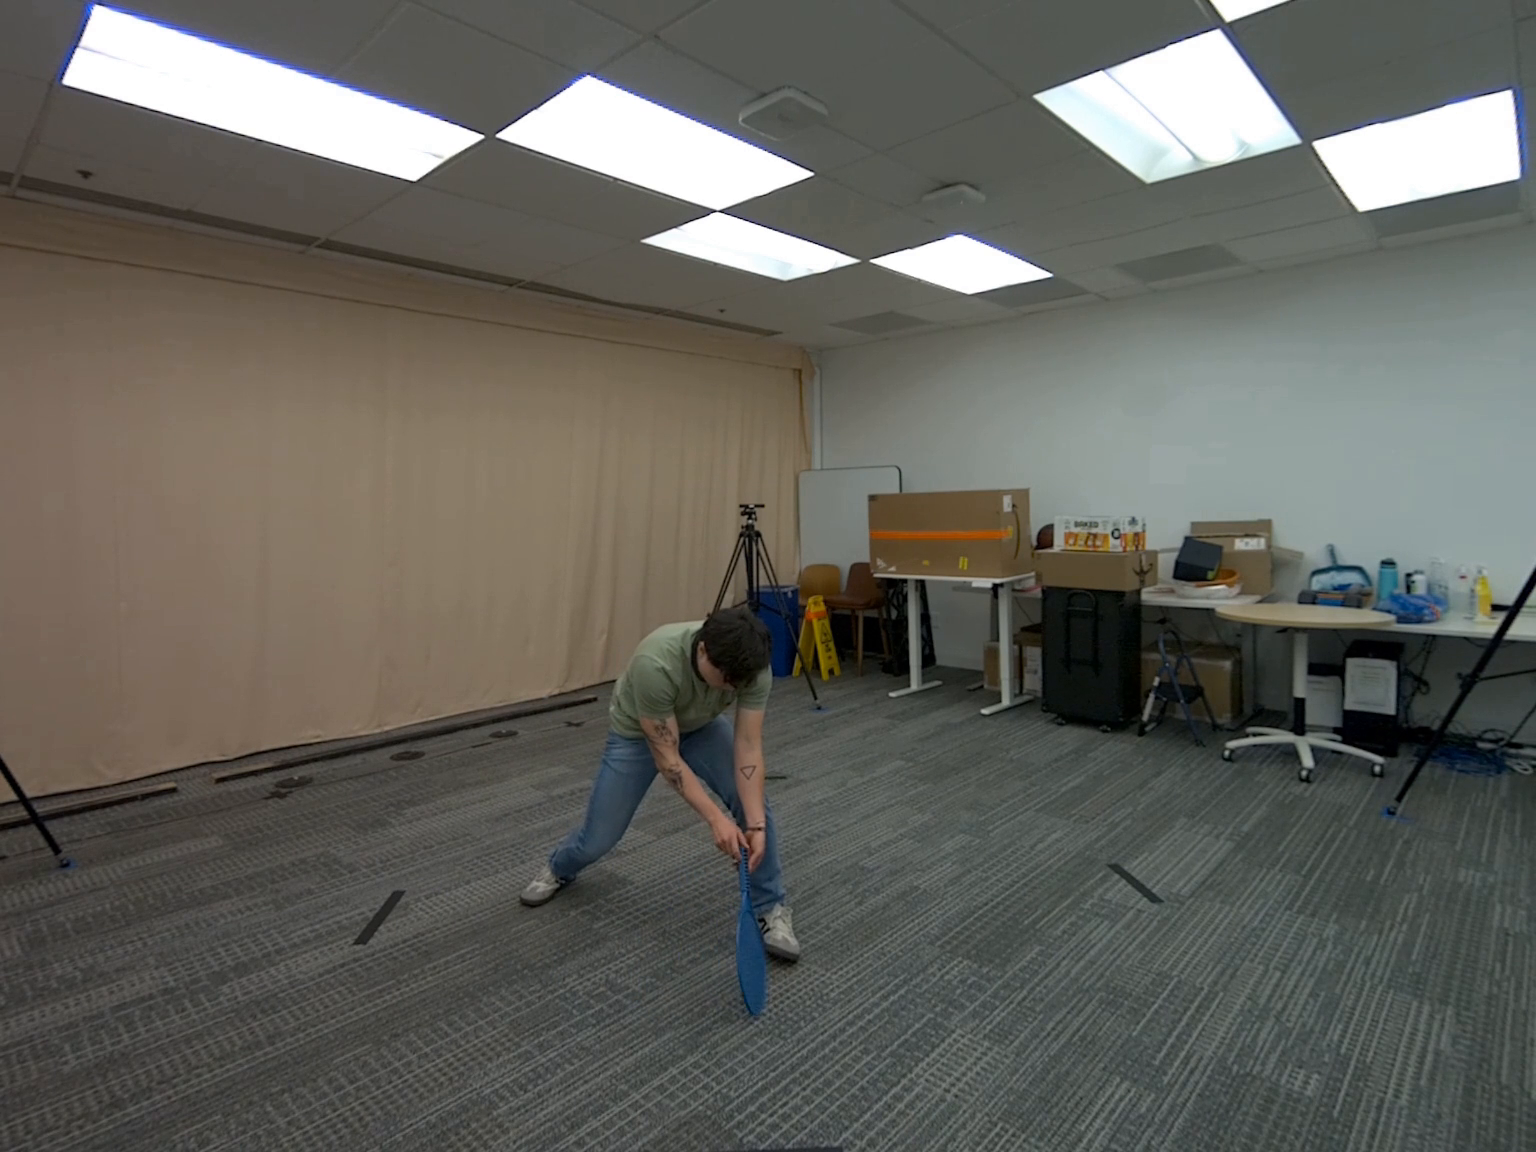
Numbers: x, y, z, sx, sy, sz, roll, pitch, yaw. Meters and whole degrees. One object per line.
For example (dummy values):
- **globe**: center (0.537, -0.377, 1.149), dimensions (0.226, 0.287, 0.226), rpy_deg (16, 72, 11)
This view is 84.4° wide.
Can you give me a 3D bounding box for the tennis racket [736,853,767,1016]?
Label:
- **tennis racket**: center (-0.044, 0.996, 2.386), dimensions (0.032, 0.440, 0.207), rpy_deg (-12, -34, 14)
